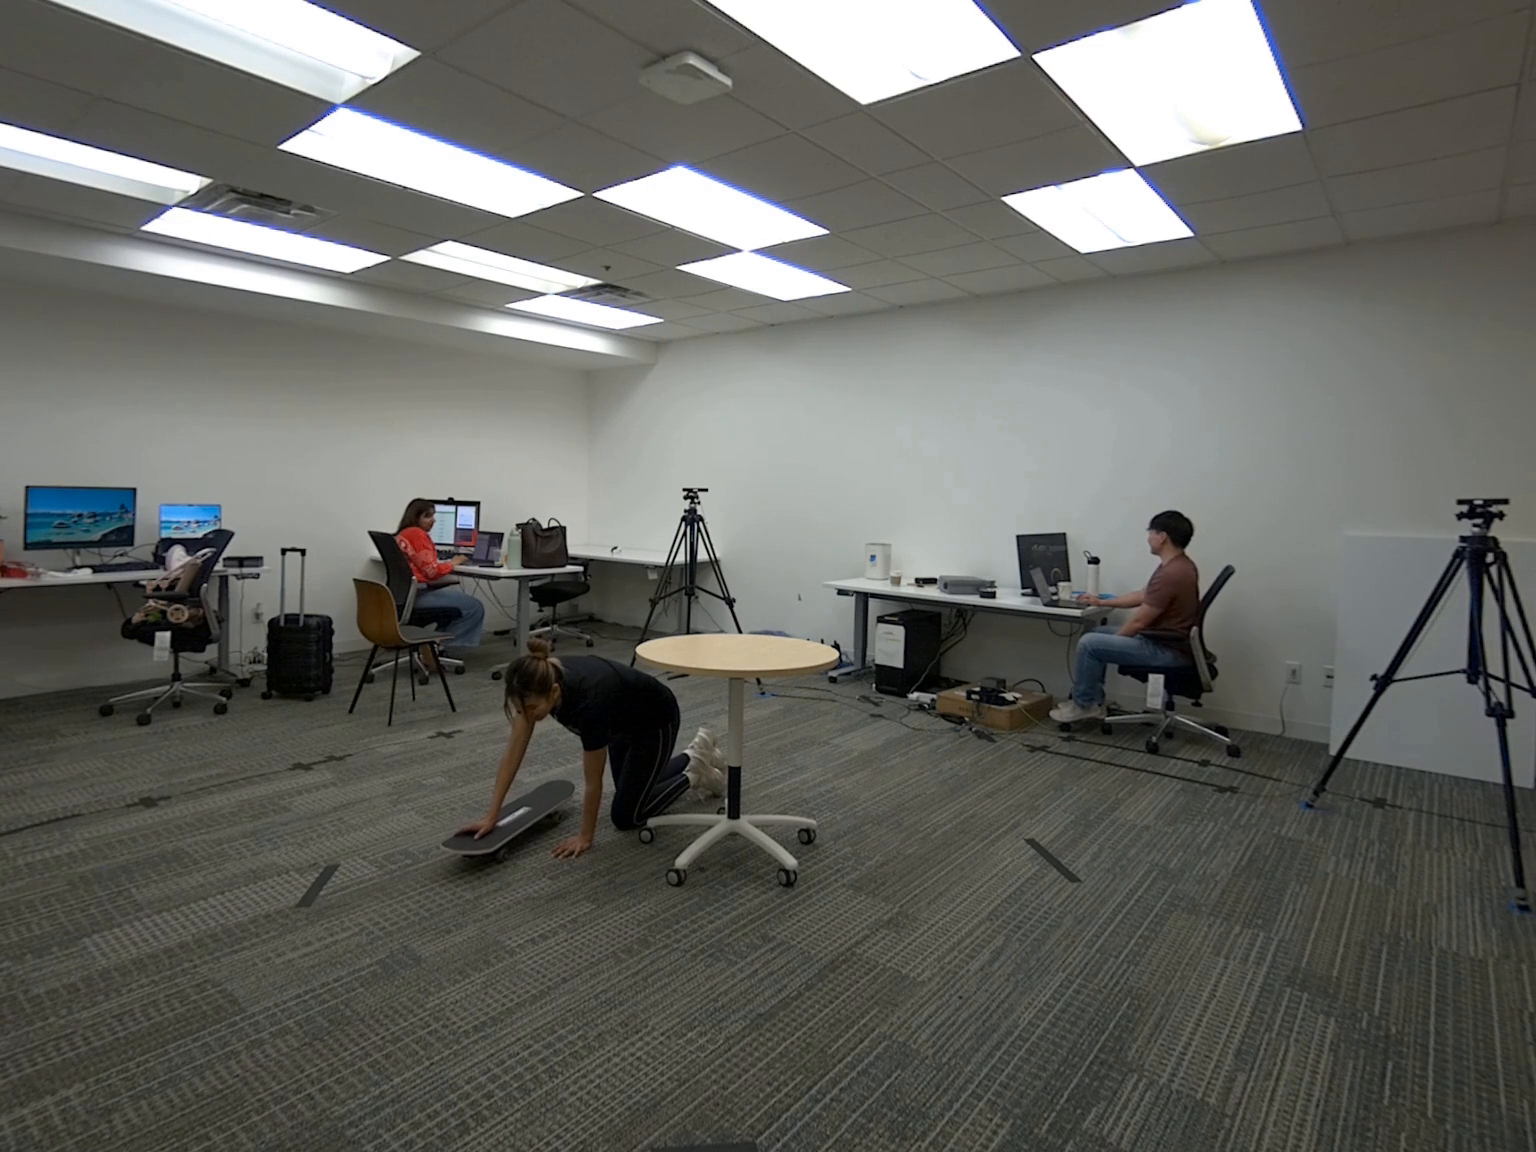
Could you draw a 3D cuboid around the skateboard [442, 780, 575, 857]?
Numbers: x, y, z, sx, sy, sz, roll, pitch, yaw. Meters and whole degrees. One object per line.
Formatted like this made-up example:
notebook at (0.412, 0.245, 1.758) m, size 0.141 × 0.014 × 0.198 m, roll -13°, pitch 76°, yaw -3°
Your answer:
skateboard at (-1.015, 0.981, 3.358) m, size 0.197 × 0.110 × 0.773 m, roll 3°, pitch 6°, yaw 17°
